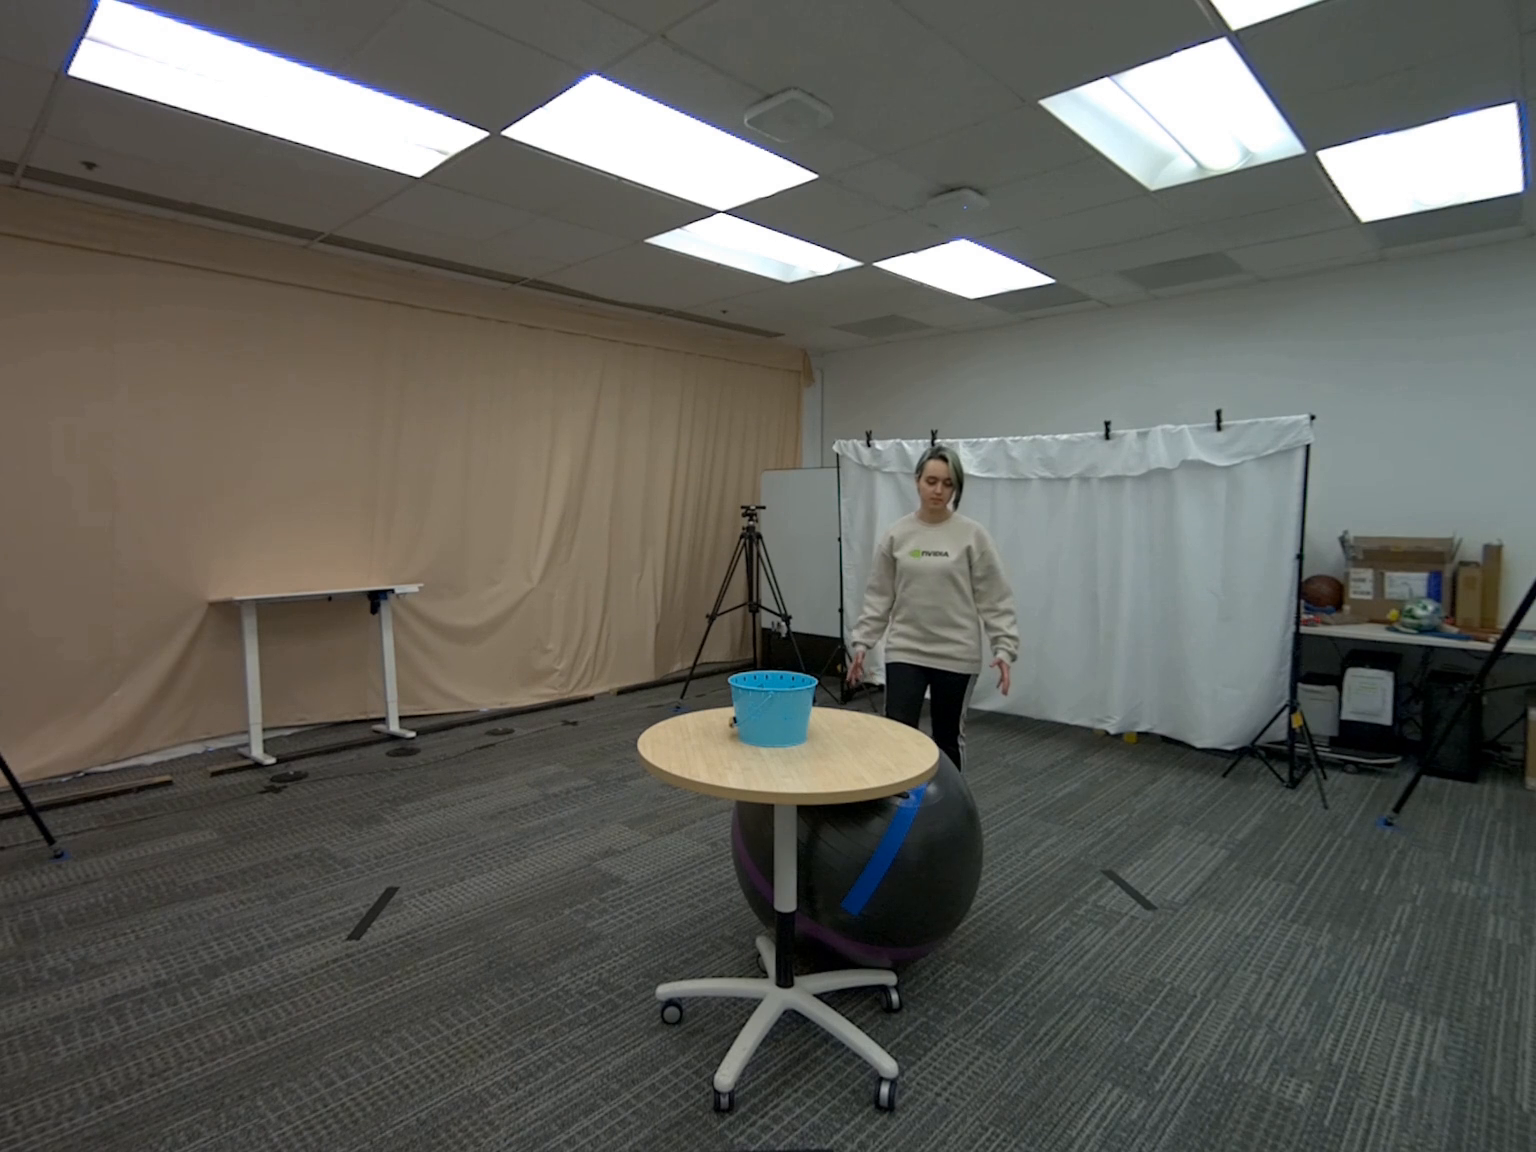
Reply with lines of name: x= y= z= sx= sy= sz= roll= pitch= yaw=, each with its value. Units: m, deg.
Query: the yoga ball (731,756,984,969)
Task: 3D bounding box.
yoga ball: x=0.277 y=0.812 z=2.589 sx=0.757 sy=0.756 sz=0.760 roll=0 pitch=4 yaw=-2
